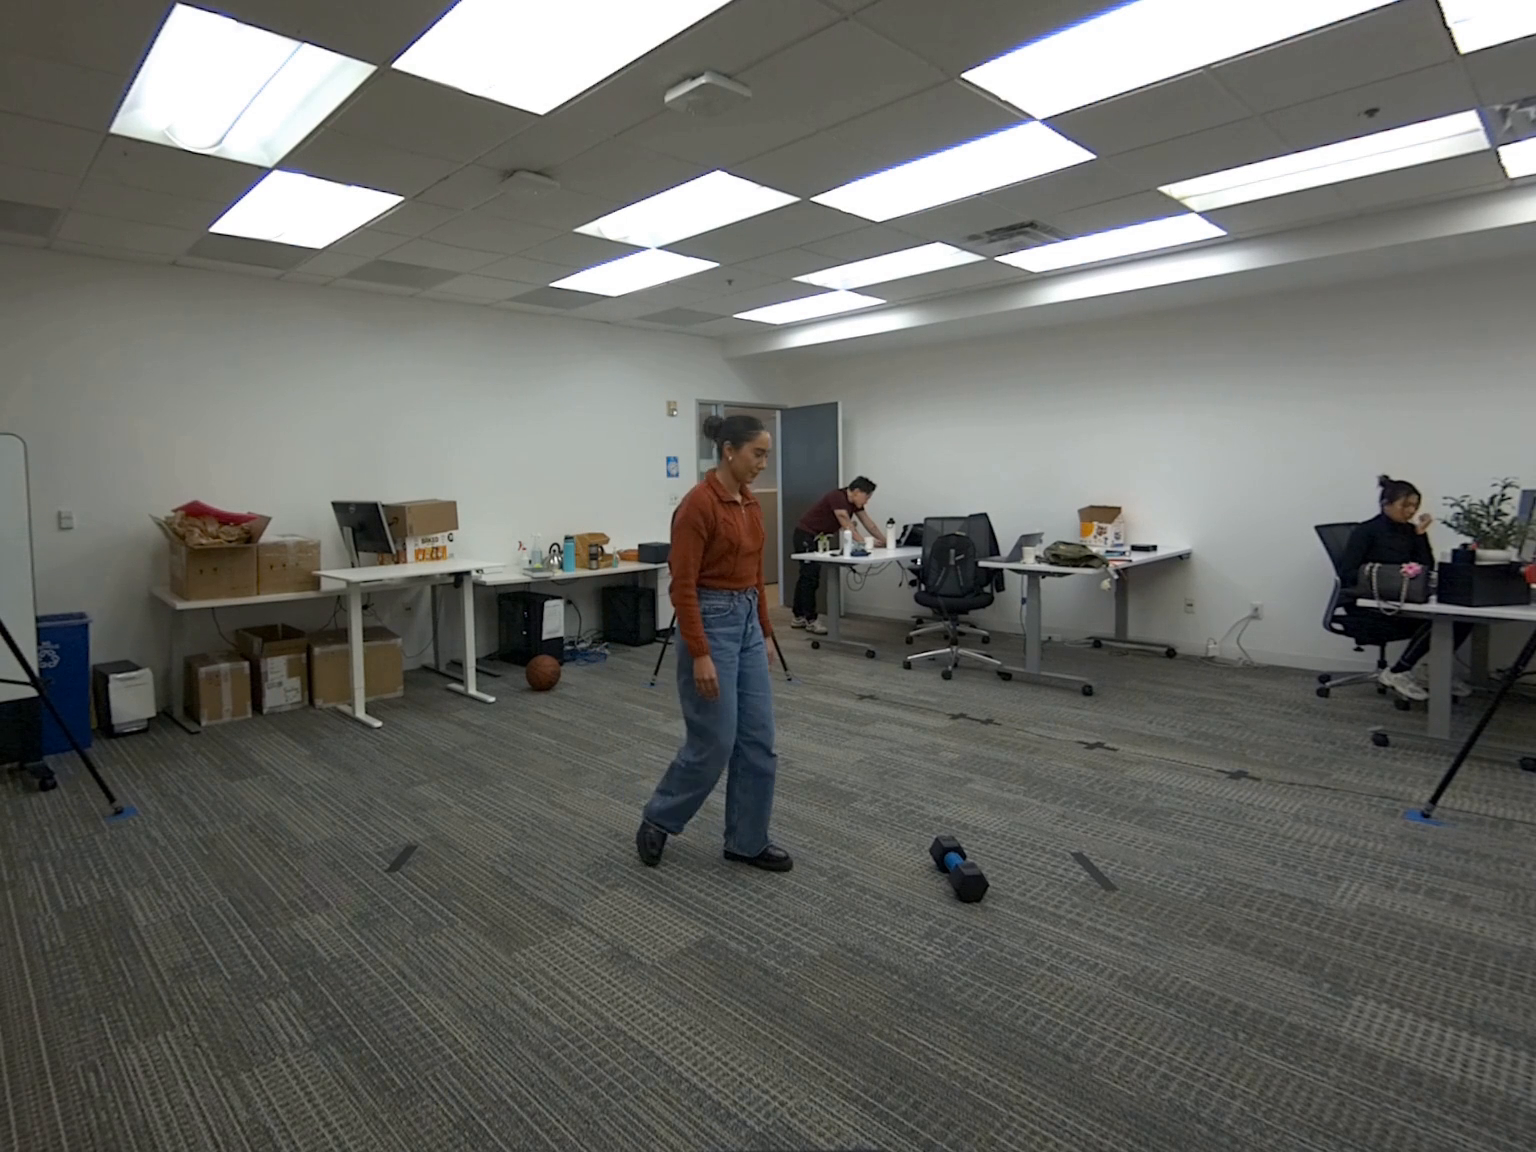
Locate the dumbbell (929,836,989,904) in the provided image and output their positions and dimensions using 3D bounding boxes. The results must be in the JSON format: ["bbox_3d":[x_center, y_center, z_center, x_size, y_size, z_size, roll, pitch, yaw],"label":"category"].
[{"bbox_3d":[0.652,0.996,2.921,0.108,0.122,0.296,-32,8,-1],"label":"dumbbell"}]
